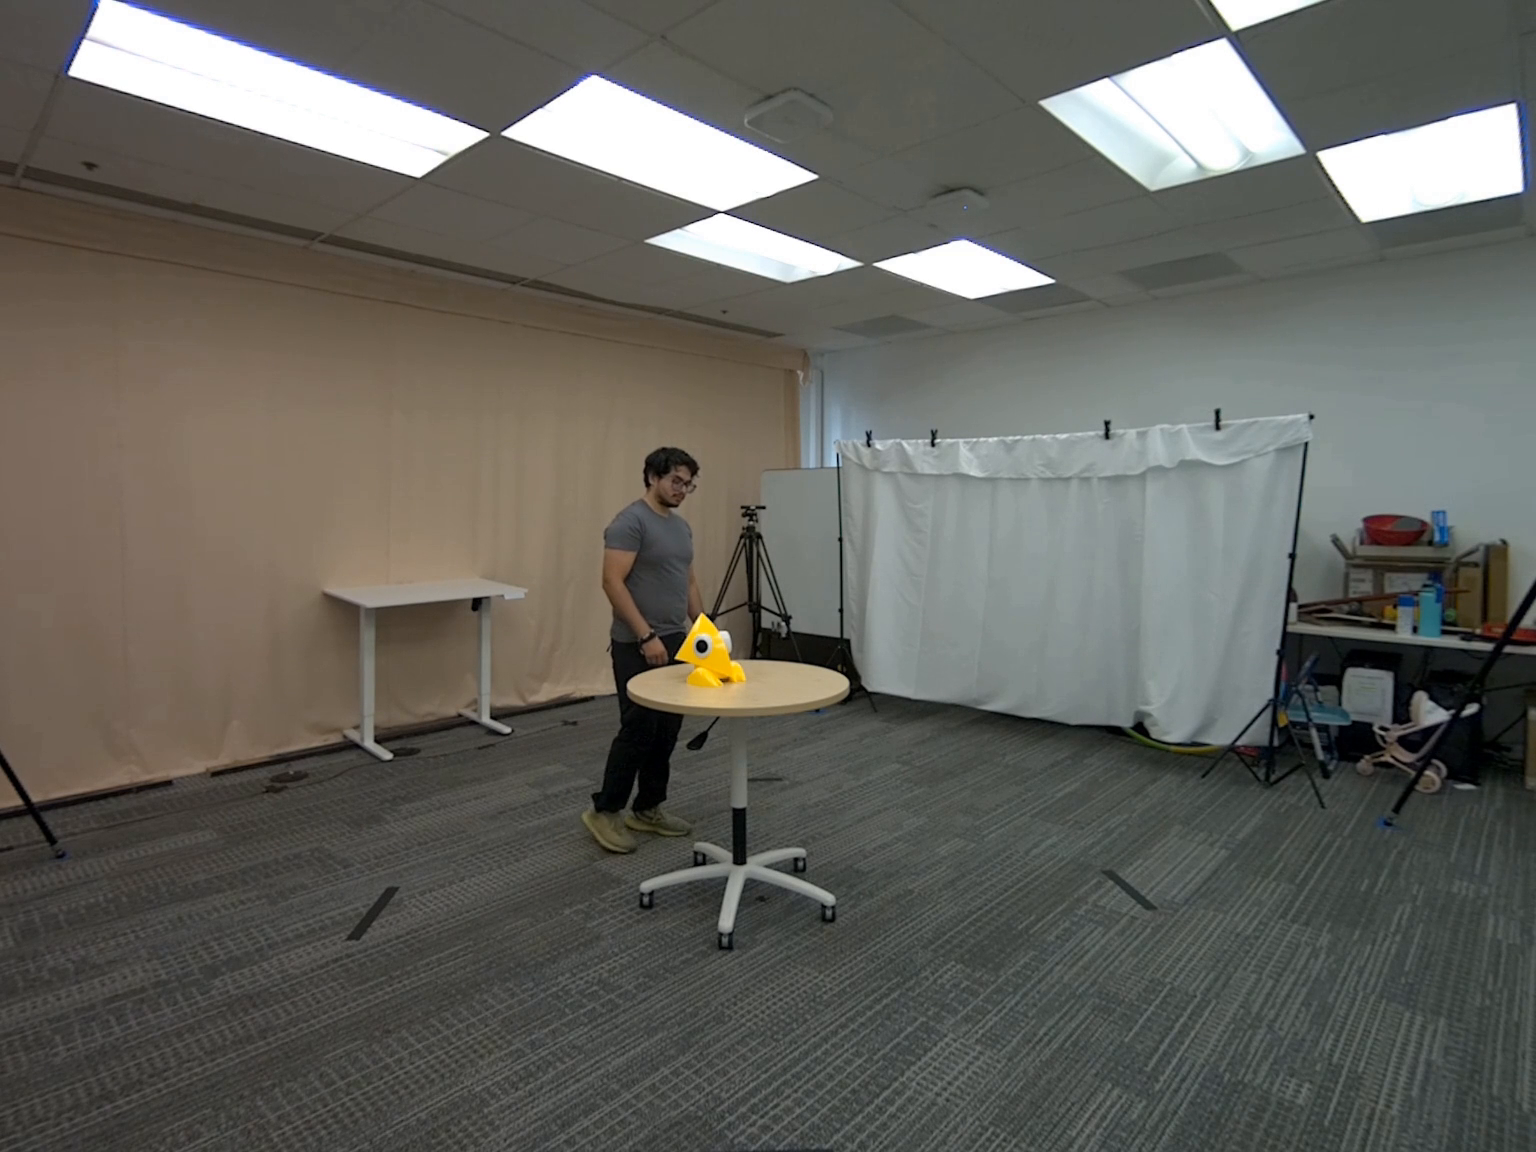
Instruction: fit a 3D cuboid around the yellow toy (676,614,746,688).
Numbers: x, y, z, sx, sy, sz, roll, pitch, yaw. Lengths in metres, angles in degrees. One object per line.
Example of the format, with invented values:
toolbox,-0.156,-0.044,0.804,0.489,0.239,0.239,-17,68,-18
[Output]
yellow toy,-0.184,0.251,2.935,0.198,0.230,0.199,-4,6,-42
